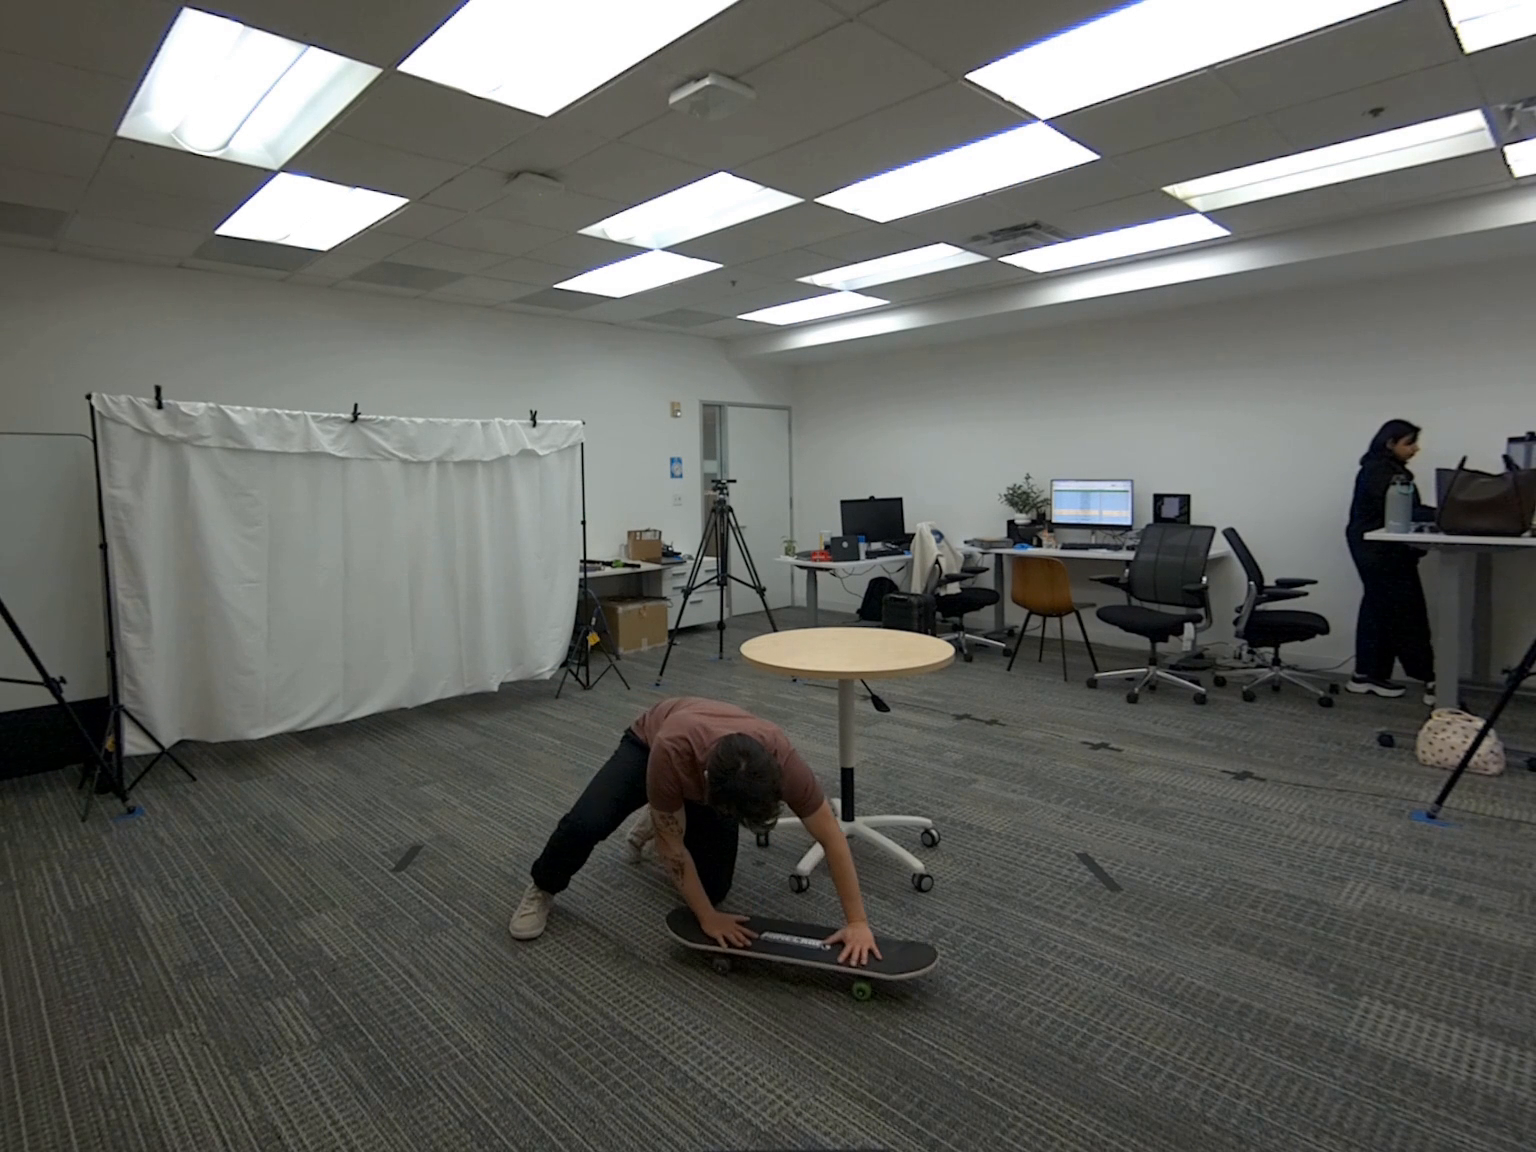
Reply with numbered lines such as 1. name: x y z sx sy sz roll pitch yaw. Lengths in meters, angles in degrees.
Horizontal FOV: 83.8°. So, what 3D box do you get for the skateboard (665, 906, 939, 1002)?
1. skateboard: 0.082 1.064 2.434 0.799 0.110 0.191 1 7 18
